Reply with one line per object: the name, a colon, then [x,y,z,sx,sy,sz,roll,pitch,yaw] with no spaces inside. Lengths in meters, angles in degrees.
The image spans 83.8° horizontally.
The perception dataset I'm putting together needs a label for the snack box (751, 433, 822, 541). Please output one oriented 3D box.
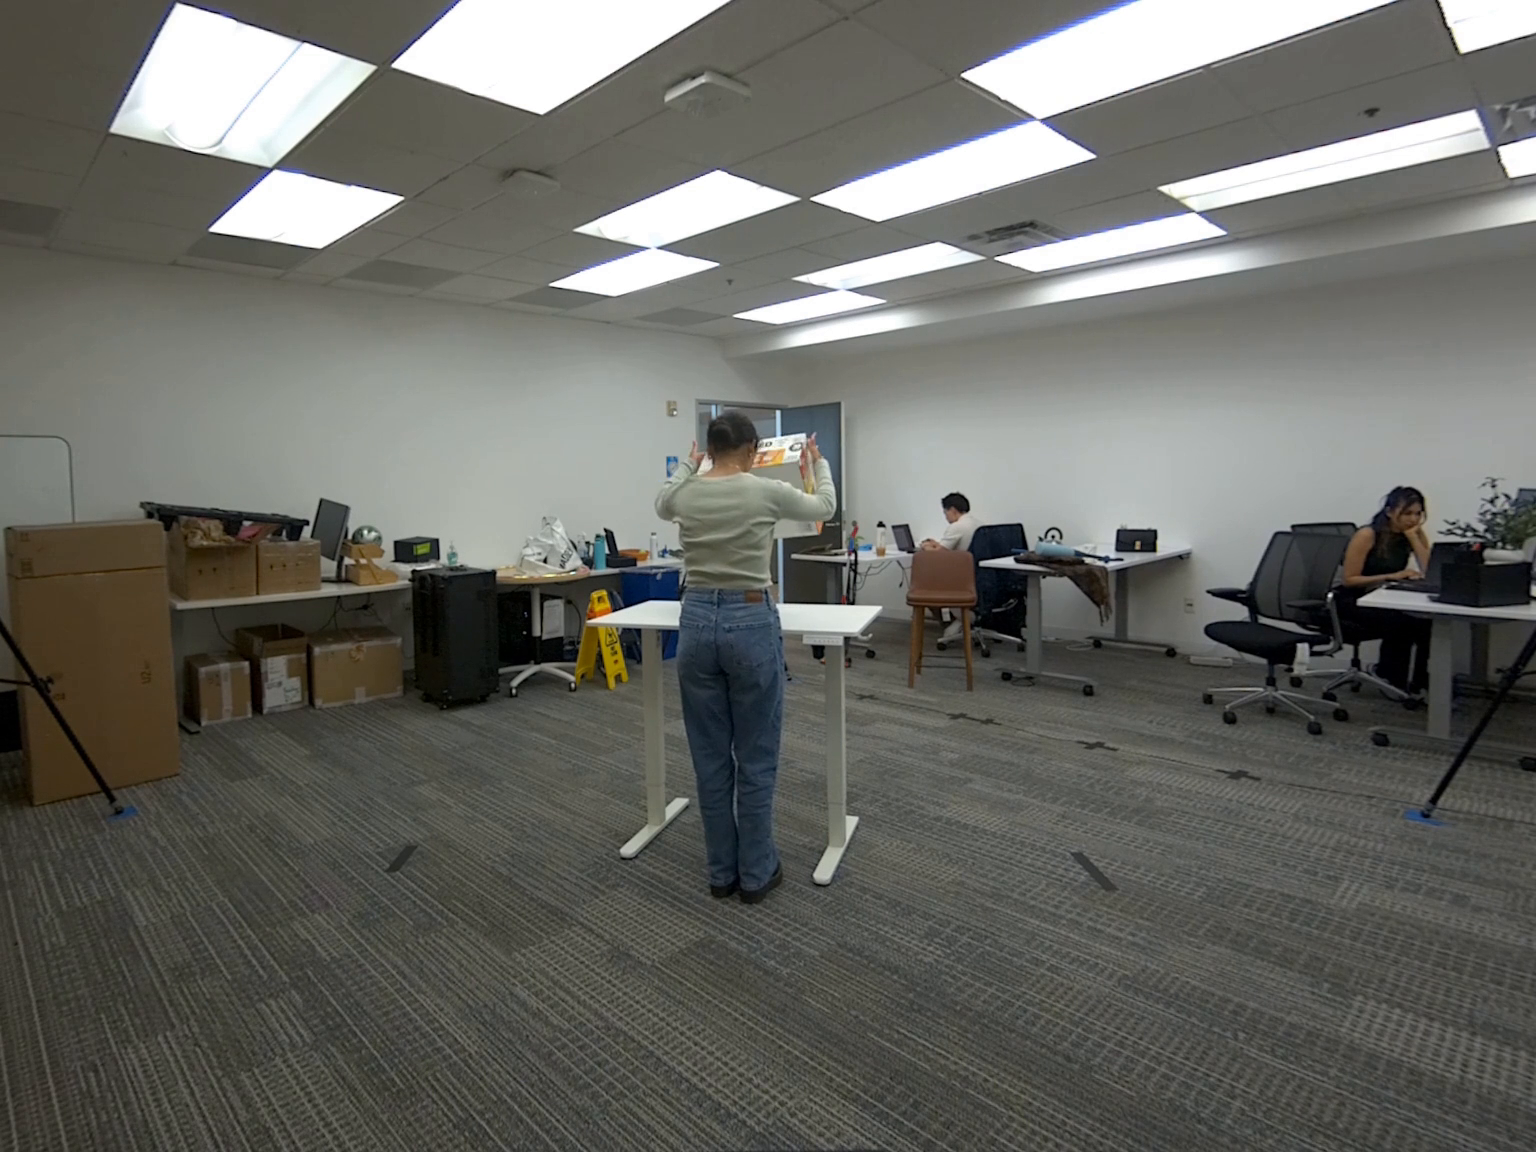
snack box: [-0.012,-0.318,3.354,0.412,0.330,0.209,-7,34,20]
